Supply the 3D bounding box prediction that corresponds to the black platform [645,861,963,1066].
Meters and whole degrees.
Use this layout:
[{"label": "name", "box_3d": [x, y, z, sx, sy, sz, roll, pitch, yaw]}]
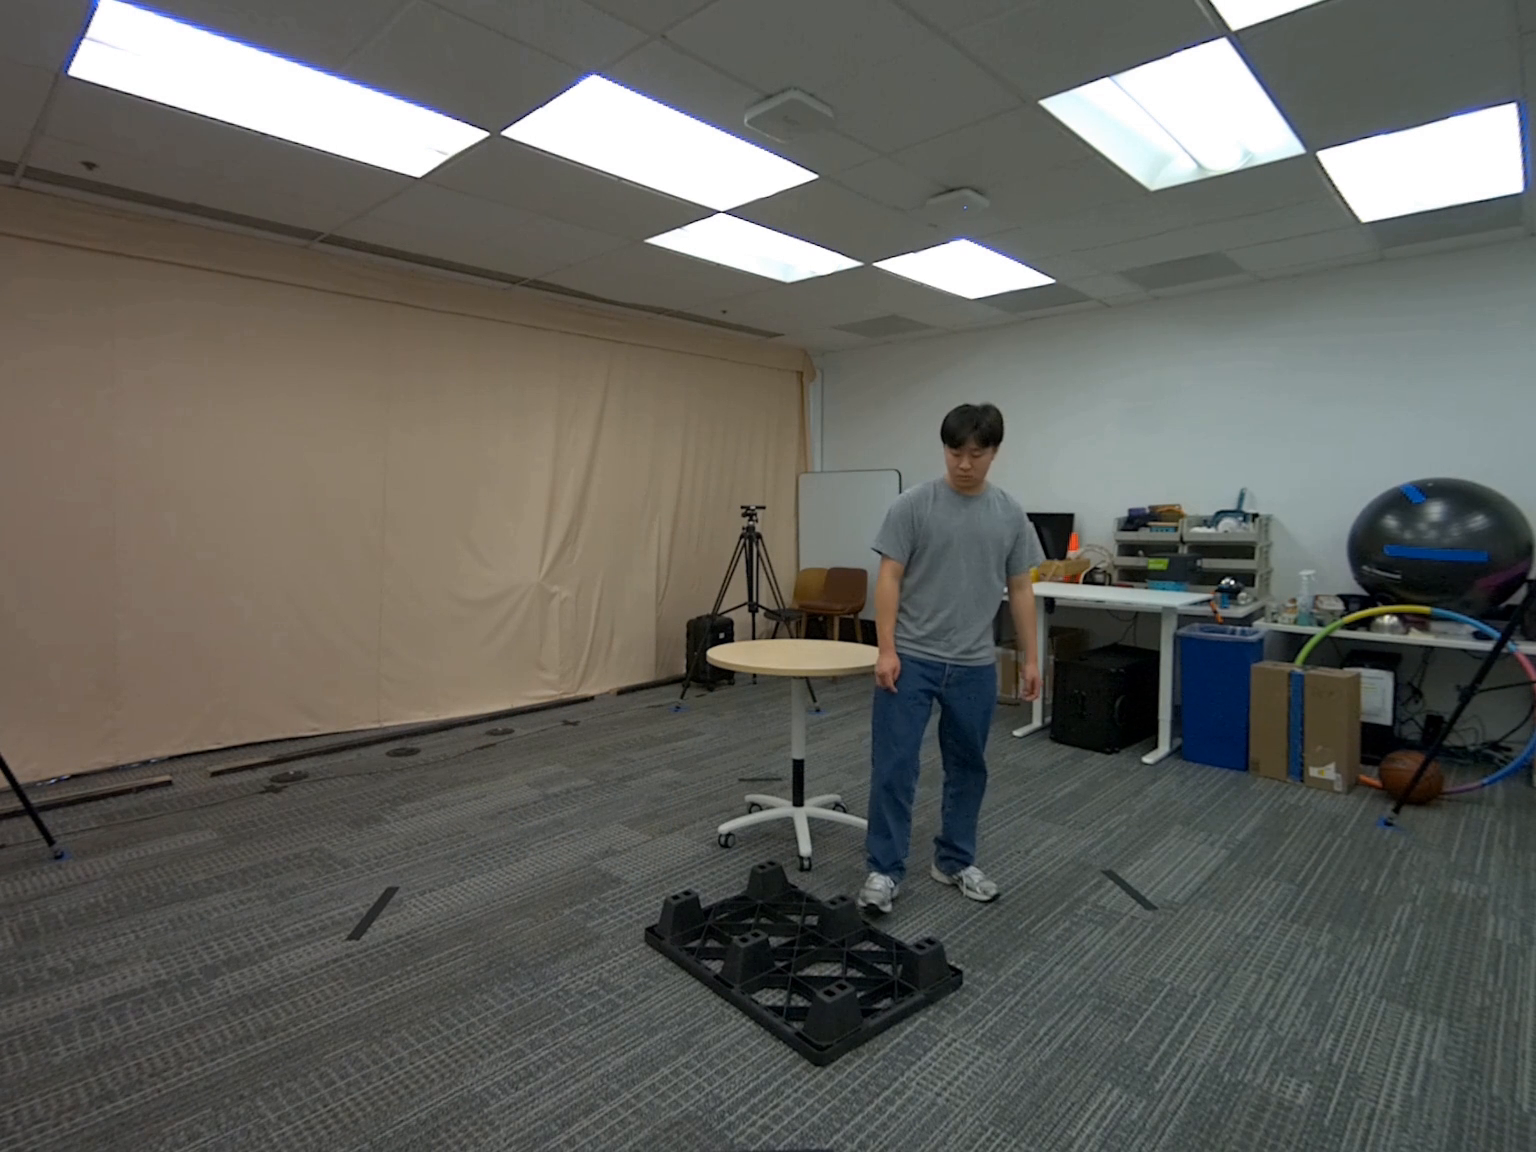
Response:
[{"label": "black platform", "box_3d": [0.092, 1.113, 2.568, 0.587, 0.143, 0.832, -5, 7, -40]}]
